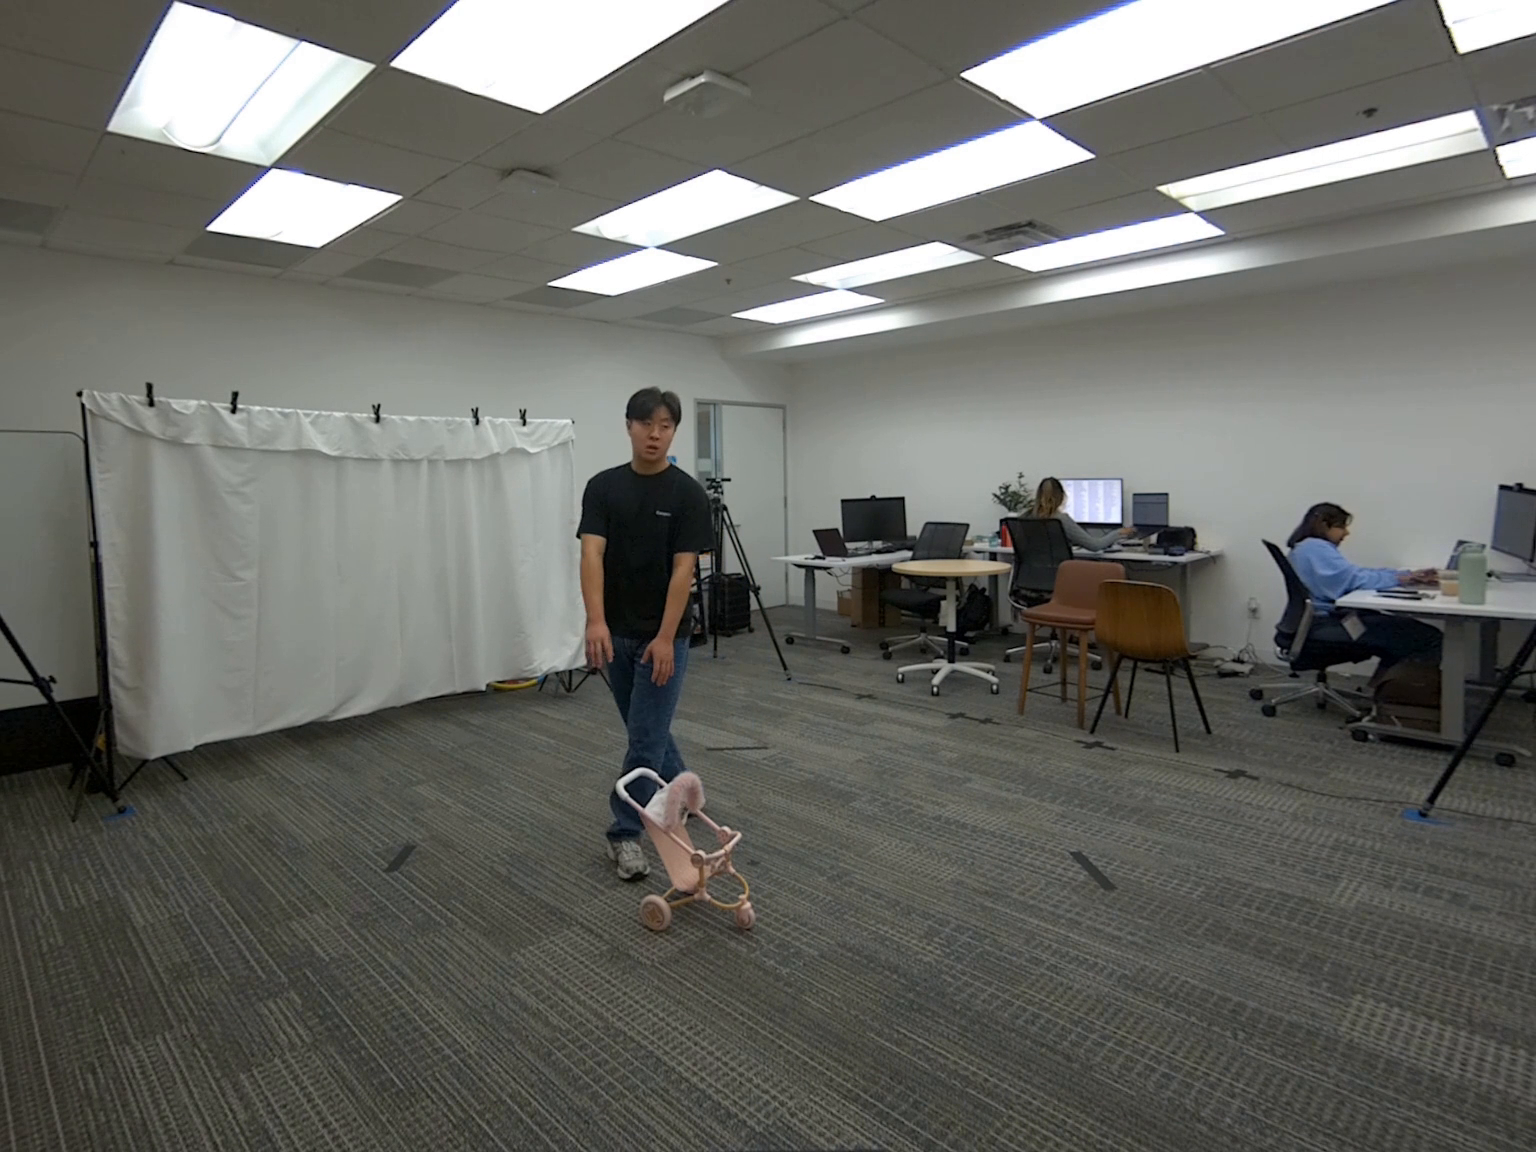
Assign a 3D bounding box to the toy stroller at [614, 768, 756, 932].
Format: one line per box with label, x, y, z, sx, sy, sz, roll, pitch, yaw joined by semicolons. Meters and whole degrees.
toy stroller;-0.242;0.866;2.724;0.347;0.537;0.275;-17;-4;29
